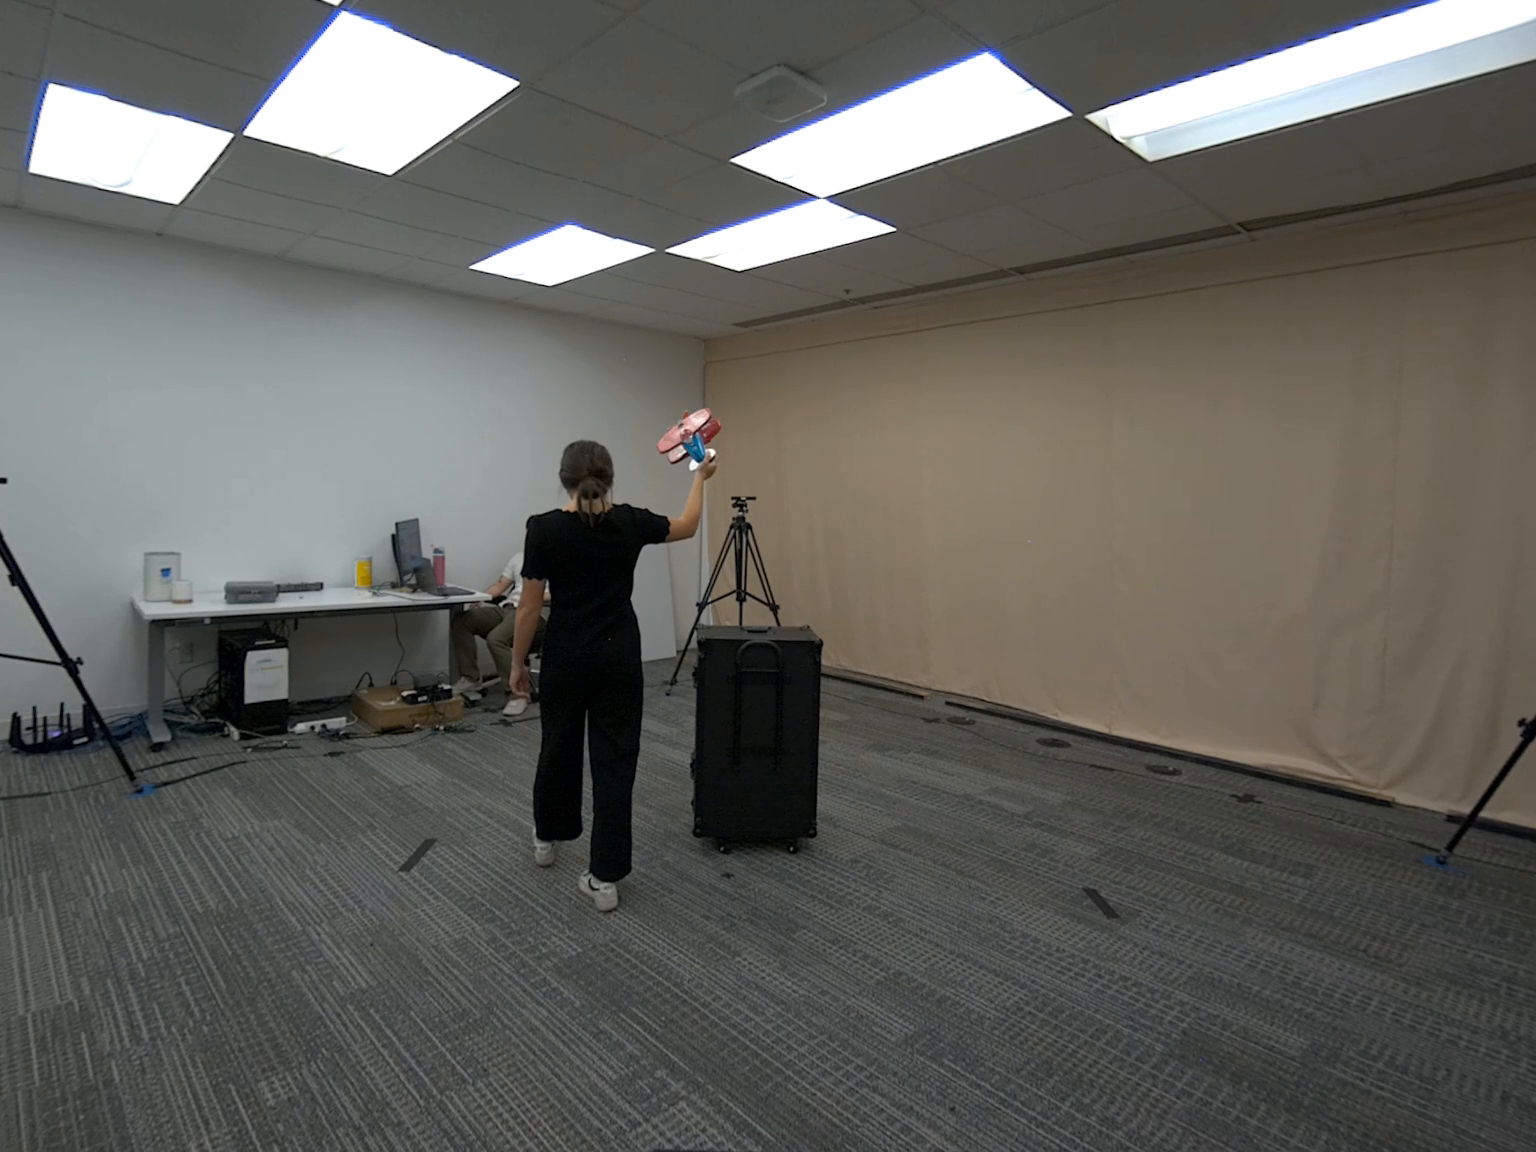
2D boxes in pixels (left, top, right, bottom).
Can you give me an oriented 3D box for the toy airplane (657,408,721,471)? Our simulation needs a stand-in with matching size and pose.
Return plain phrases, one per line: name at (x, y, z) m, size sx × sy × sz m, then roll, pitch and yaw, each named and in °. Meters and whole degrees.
toy airplane at (-0.288, -0.530, 3.334) m, size 0.267 × 0.251 × 0.152 m, roll 21°, pitch -21°, yaw 50°
